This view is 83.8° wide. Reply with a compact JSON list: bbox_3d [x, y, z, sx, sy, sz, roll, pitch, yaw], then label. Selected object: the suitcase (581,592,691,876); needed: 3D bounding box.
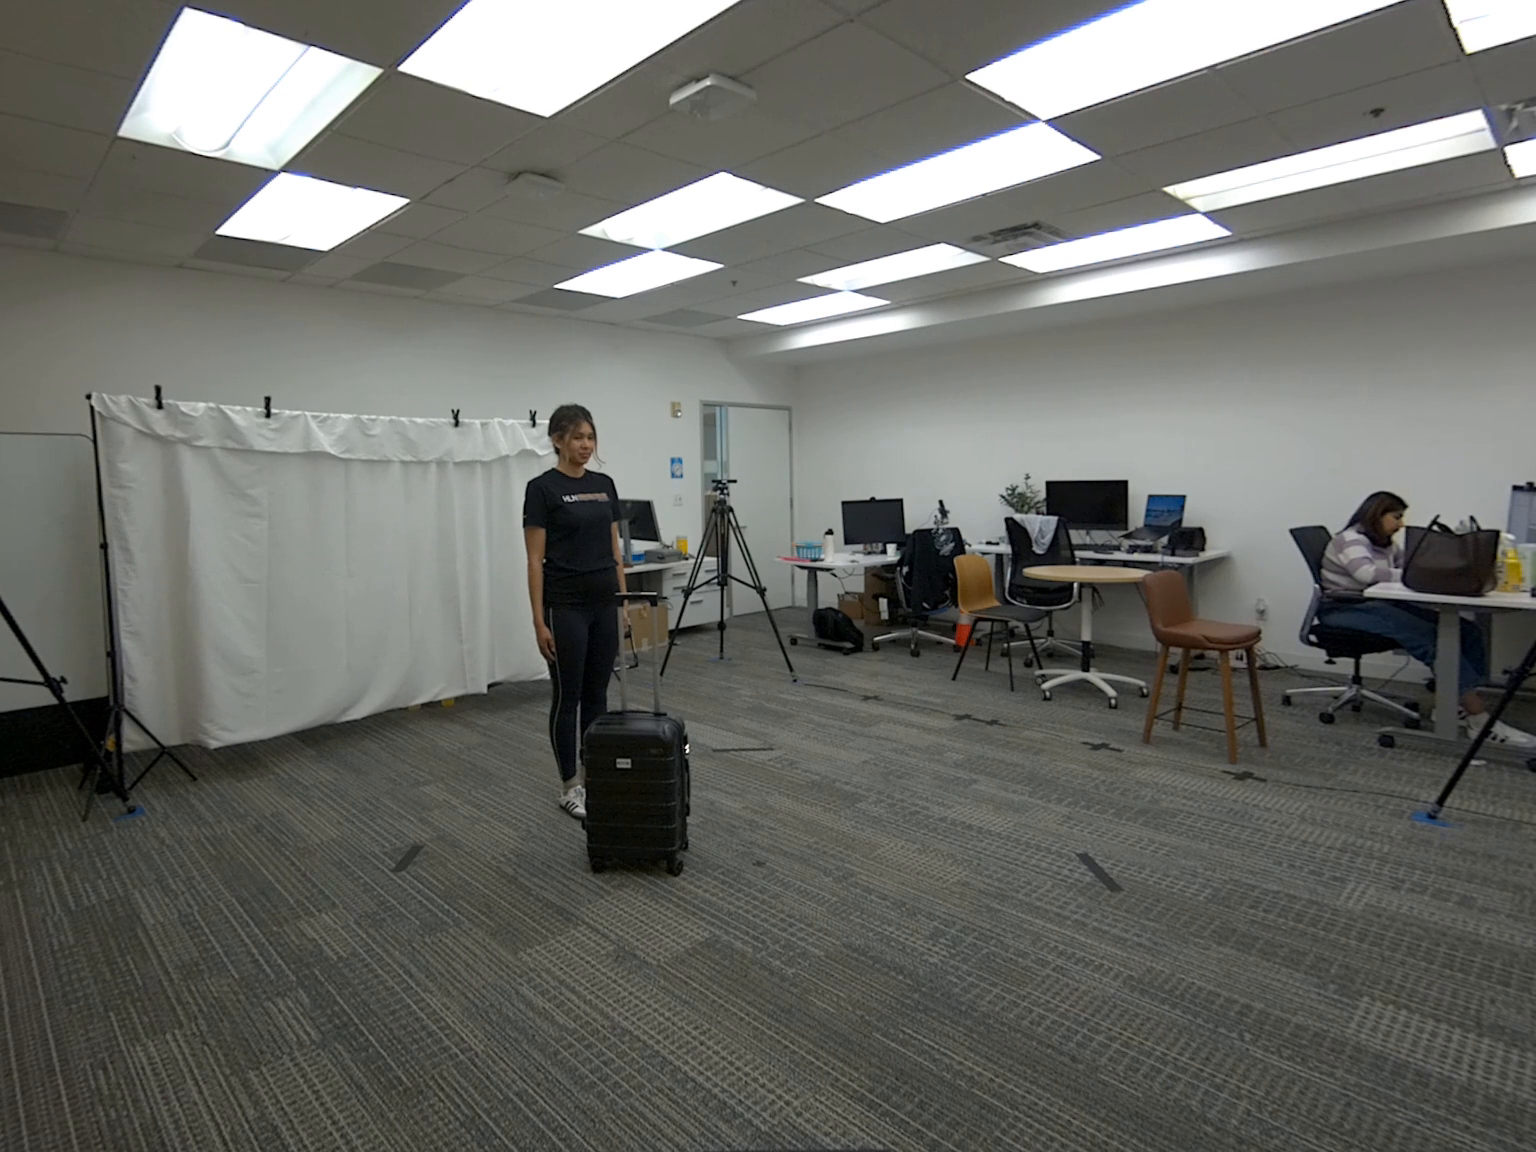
[{"bbox_3d":[-0.482,0.576,3.112,0.386,0.973,0.257,-1,6,5],"label":"suitcase"}]
